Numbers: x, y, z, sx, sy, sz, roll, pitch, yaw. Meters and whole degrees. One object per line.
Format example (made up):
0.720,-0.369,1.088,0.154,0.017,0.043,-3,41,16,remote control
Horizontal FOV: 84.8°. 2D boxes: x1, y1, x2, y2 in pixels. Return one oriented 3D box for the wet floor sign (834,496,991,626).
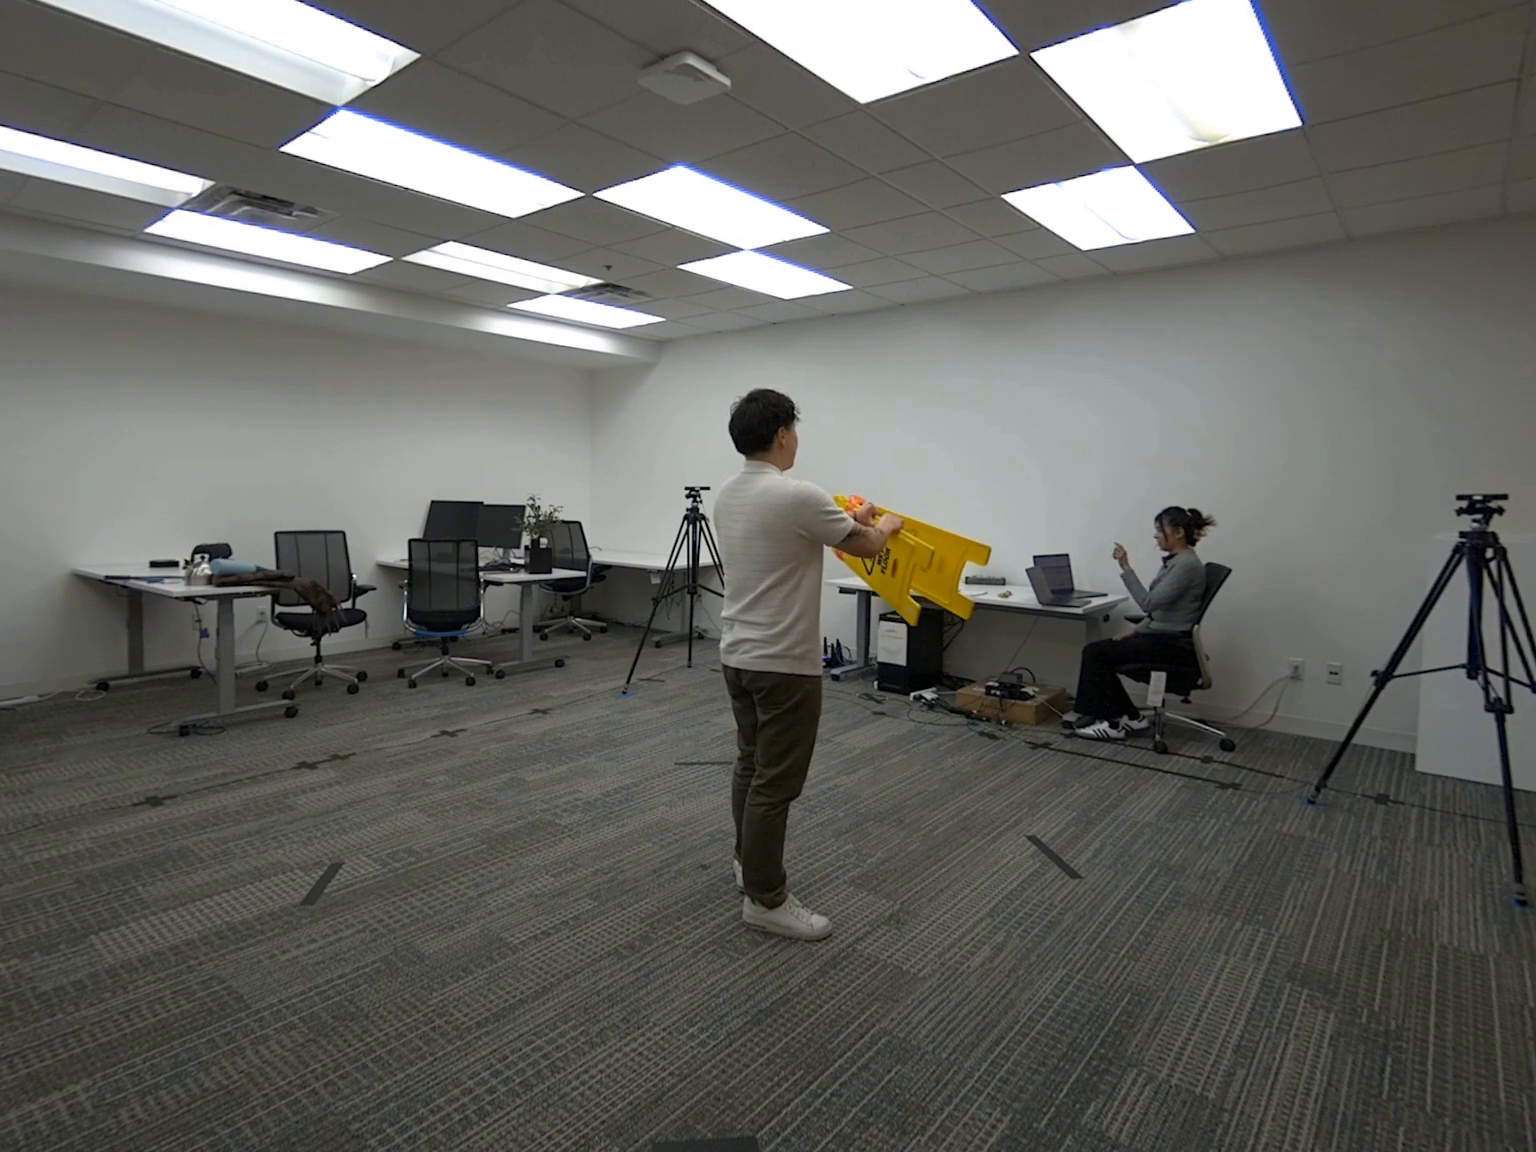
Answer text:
0.422,-0.101,3.072,0.282,0.278,0.674,-6,27,-36,wet floor sign
